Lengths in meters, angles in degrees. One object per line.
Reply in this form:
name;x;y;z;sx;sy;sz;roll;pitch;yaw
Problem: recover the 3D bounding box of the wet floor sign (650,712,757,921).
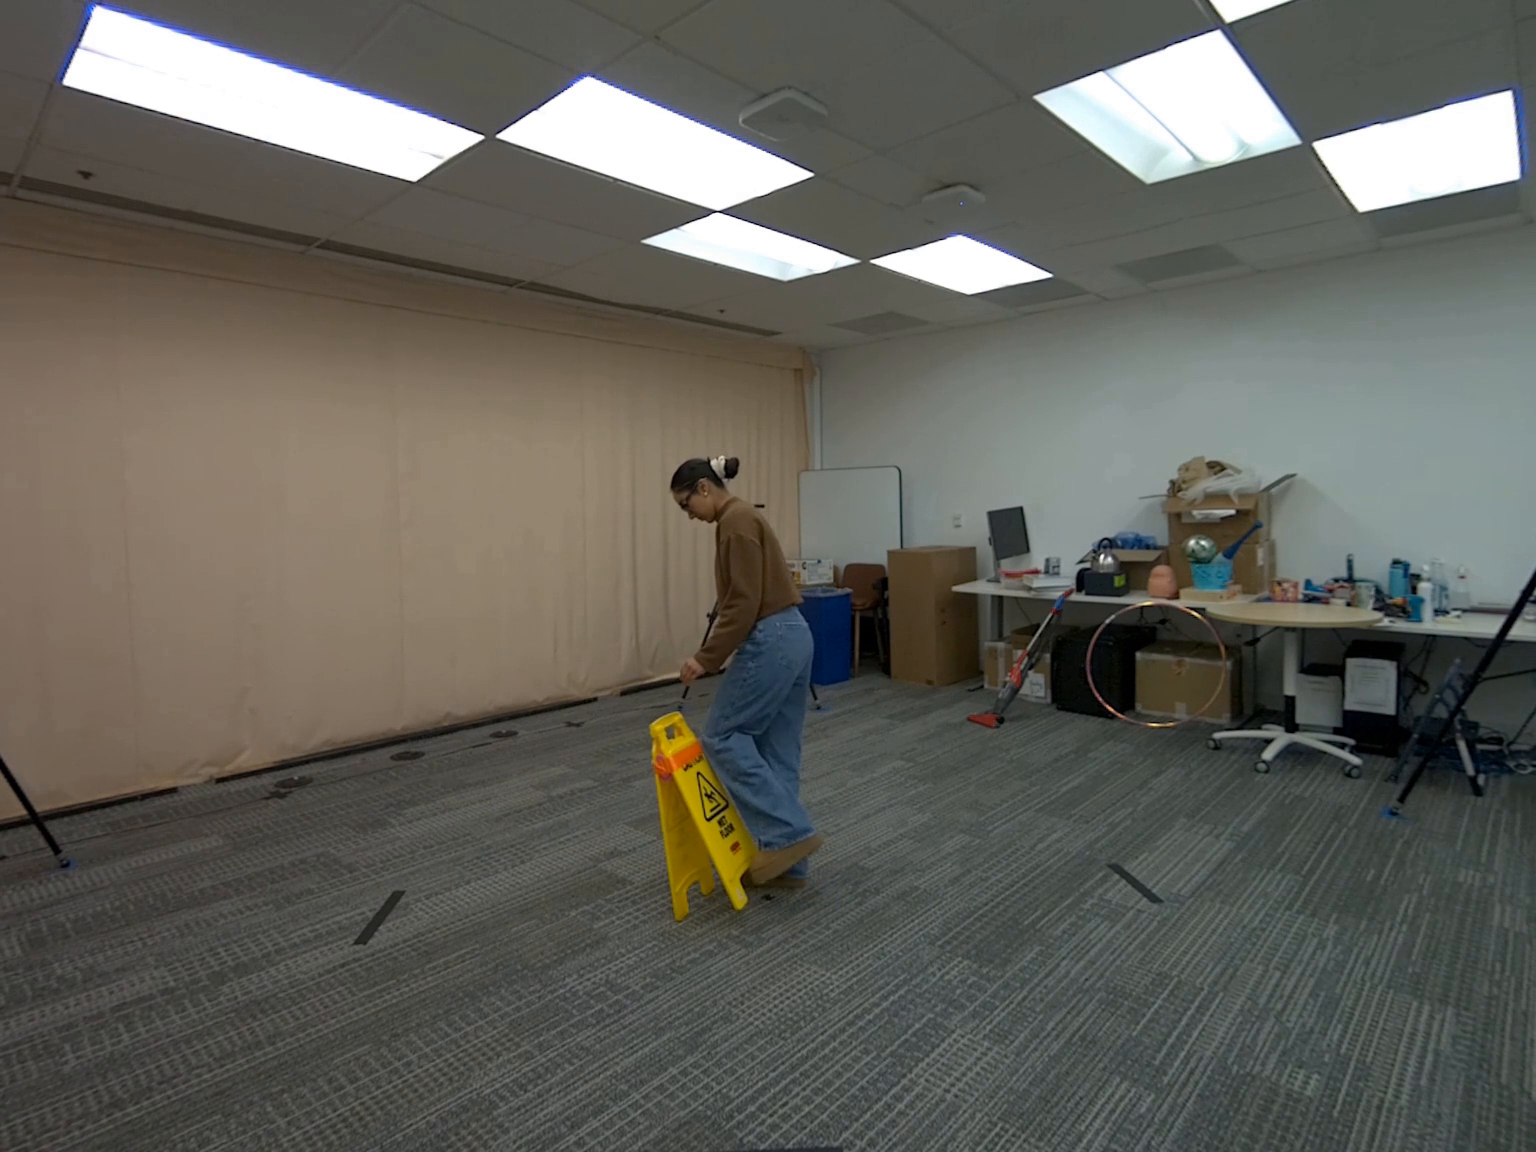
wet floor sign;-0.256;0.806;2.920;0.294;0.650;0.276;-22;-7;22
